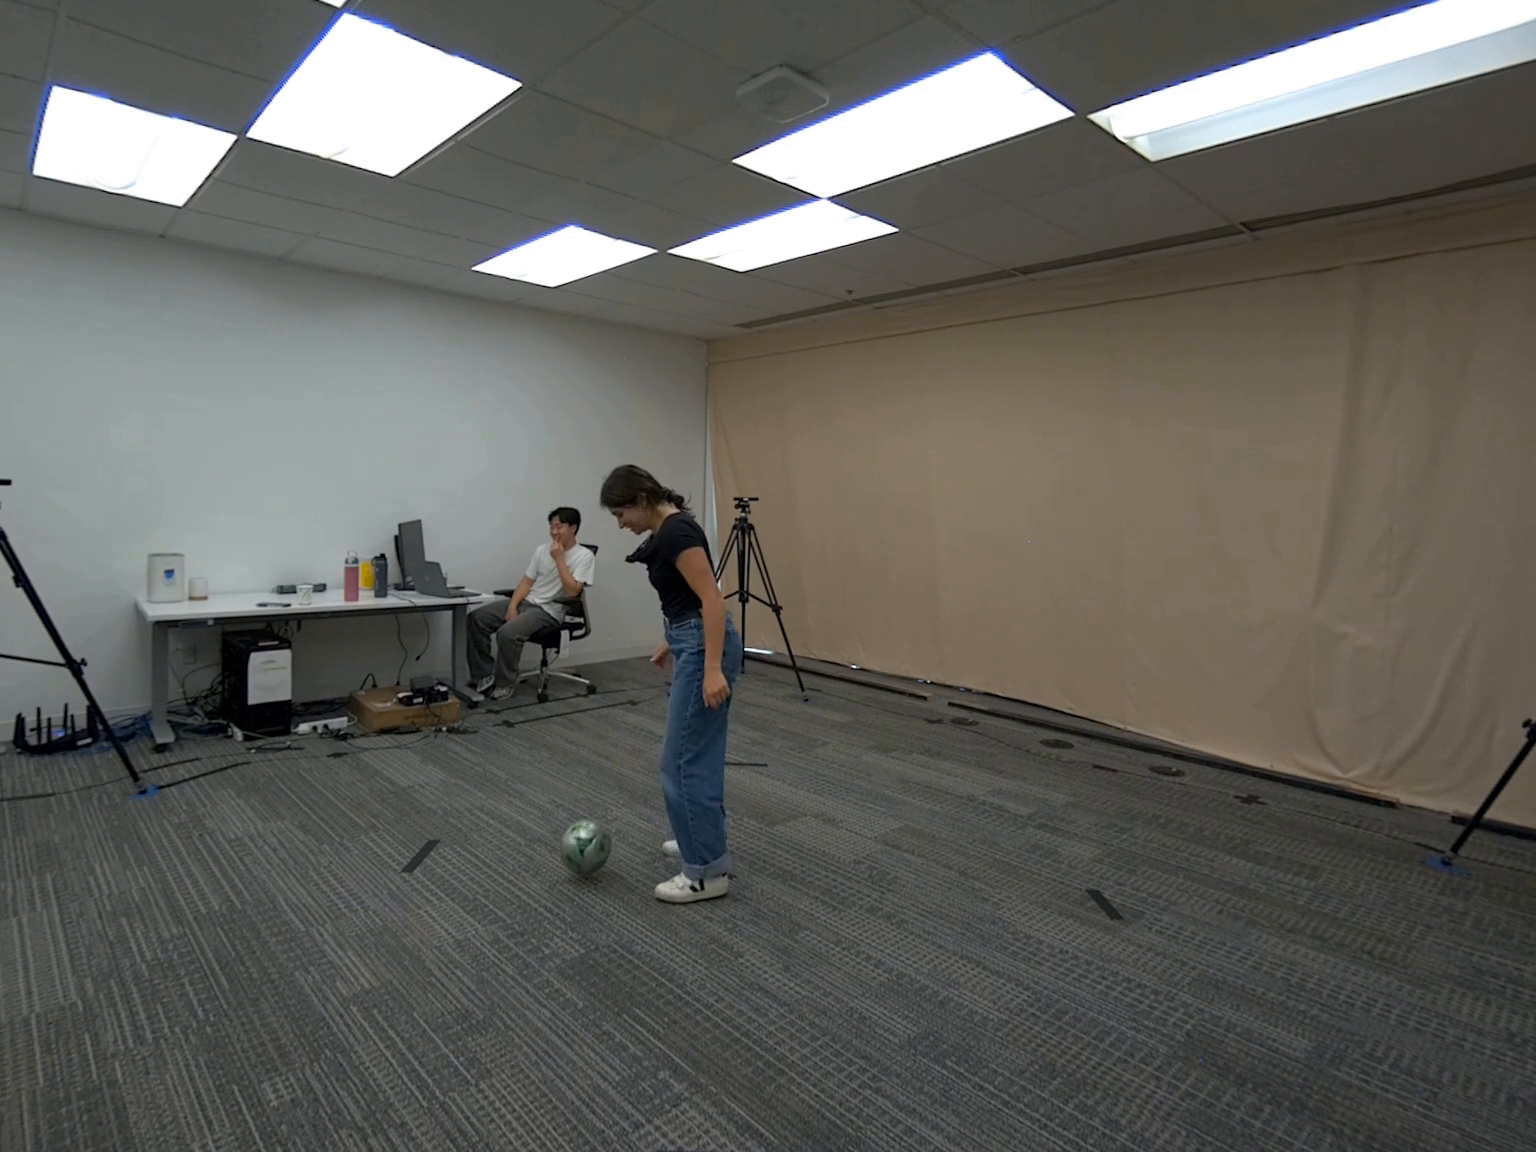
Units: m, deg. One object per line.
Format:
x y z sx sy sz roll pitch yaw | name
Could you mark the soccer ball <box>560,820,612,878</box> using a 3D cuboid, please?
-0.663 0.935 3.048 0.187 0.187 0.188 1 4 -1 | soccer ball
